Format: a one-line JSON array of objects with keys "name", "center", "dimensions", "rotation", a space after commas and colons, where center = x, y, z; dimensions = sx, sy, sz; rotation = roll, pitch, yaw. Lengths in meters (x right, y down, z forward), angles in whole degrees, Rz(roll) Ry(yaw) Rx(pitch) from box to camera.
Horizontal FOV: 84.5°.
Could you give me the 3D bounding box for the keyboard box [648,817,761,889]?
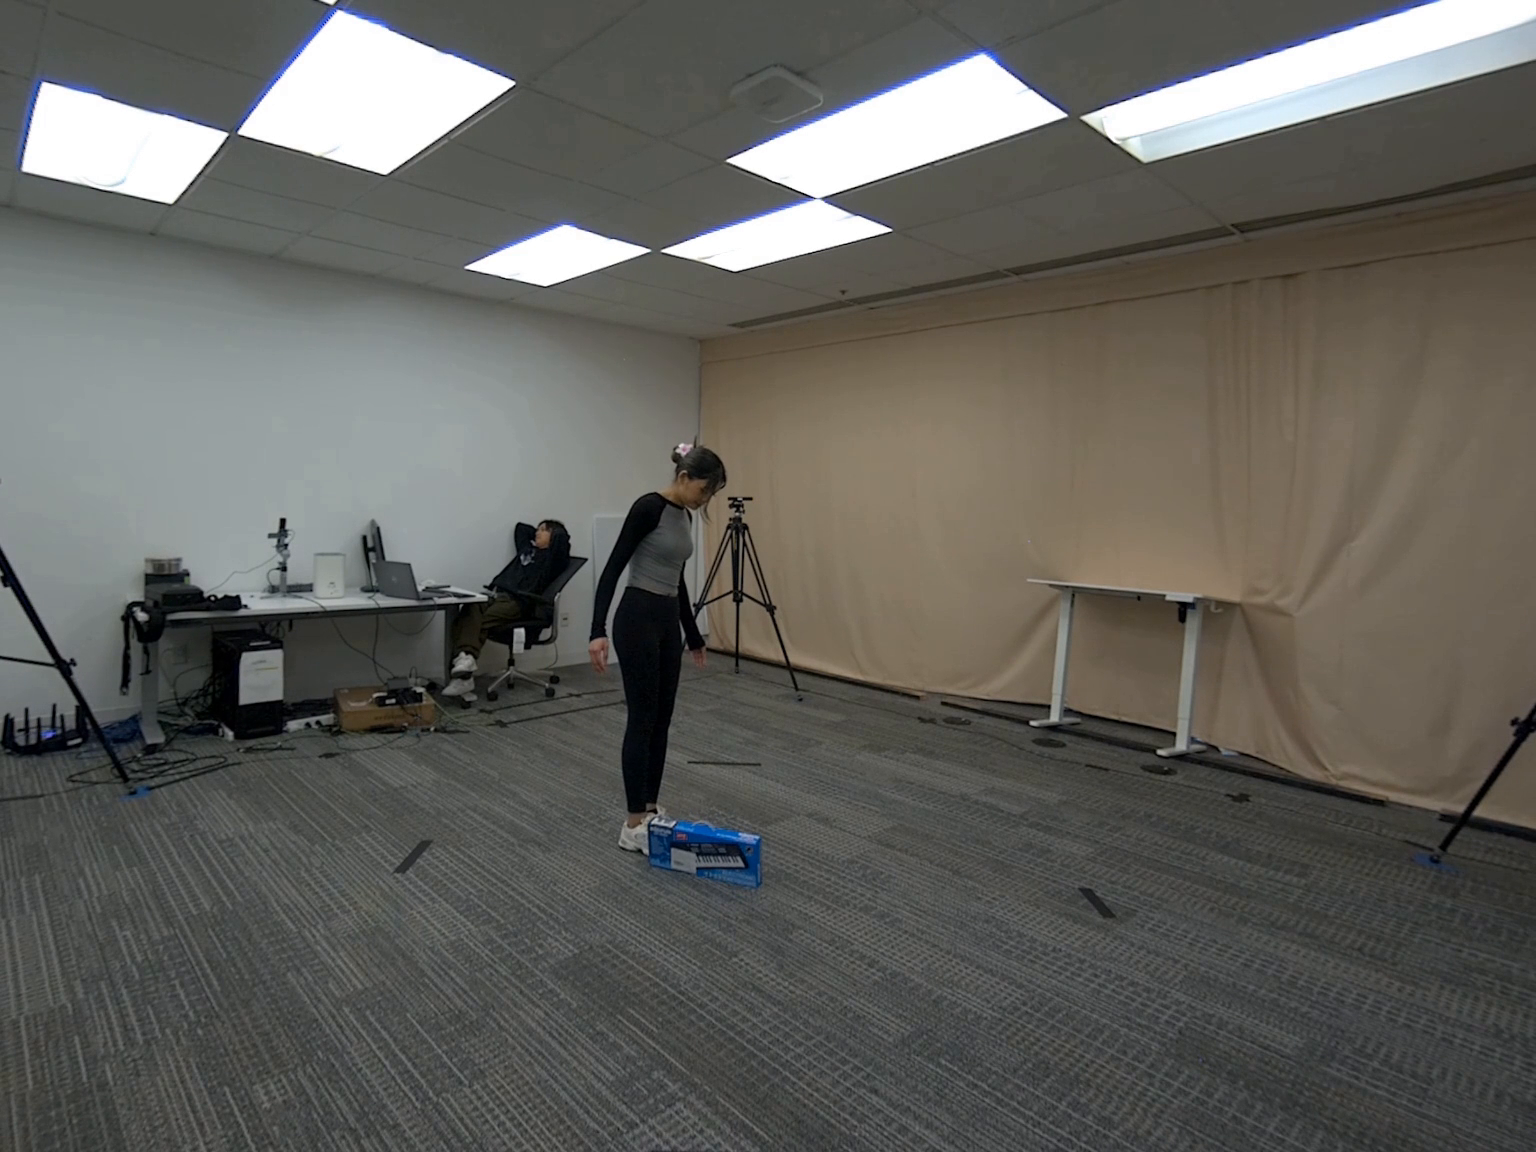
[{"name": "keyboard box", "center": [-0.243, 1.016, 3.105], "dimensions": [0.444, 0.174, 0.058], "rotation": [3, 12, 22]}]
